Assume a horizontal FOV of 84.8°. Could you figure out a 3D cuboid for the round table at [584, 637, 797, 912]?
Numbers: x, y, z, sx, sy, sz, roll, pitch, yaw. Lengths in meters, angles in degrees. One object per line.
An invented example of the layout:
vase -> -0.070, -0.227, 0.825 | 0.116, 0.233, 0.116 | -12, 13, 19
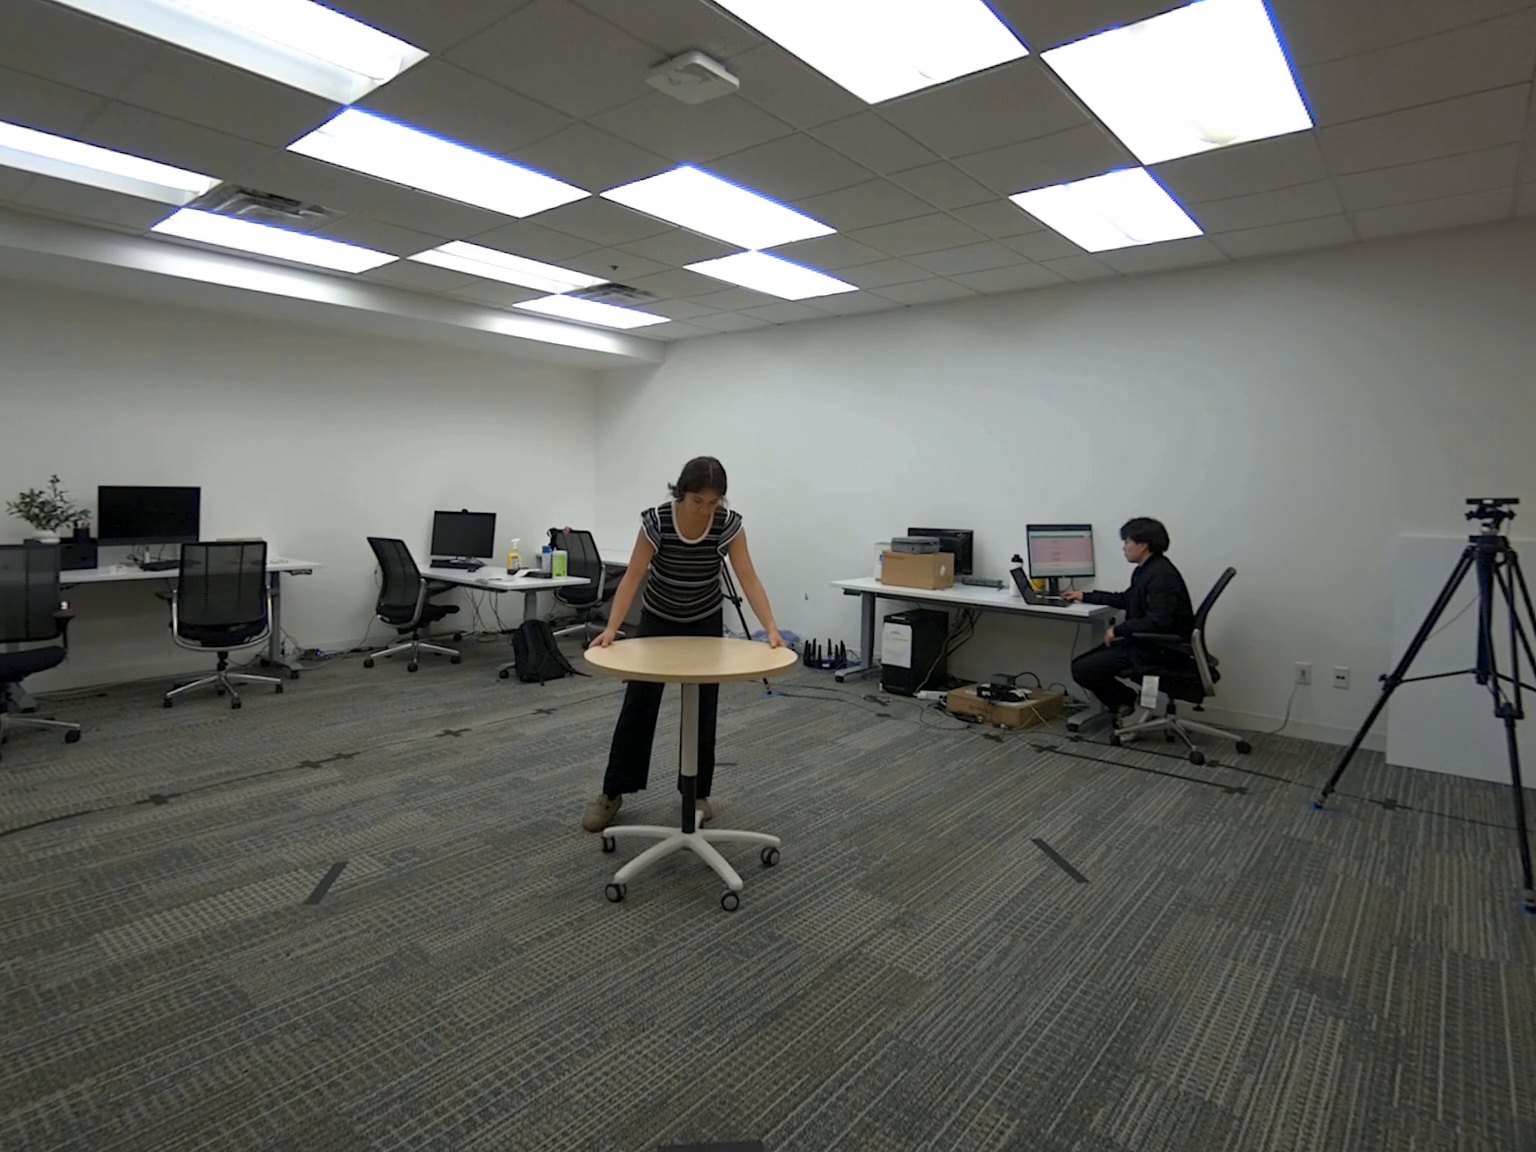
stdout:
round table -> -0.296, 0.668, 3.095 | 0.784, 0.784, 0.788 | 1, 4, -2
